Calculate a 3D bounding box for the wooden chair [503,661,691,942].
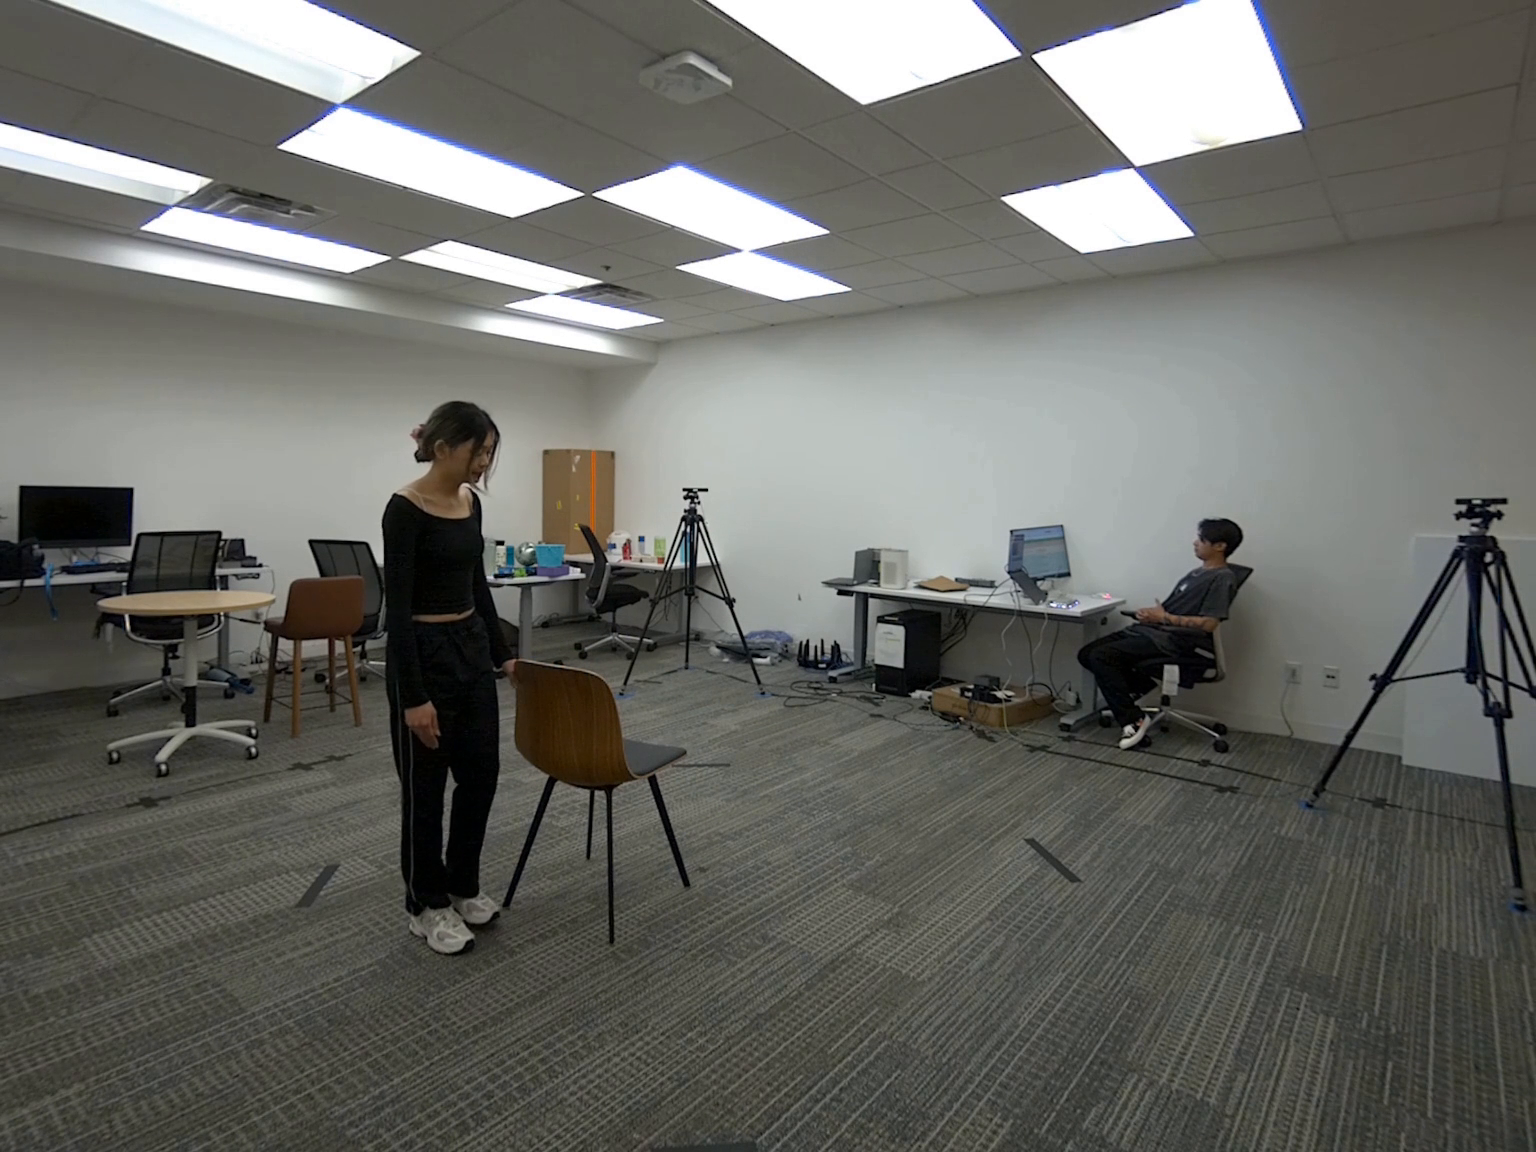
[{"bbox_3d":[-0.571,0.658,2.866,0.492,0.871,0.512,2,8,29],"label":"wooden chair"}]
